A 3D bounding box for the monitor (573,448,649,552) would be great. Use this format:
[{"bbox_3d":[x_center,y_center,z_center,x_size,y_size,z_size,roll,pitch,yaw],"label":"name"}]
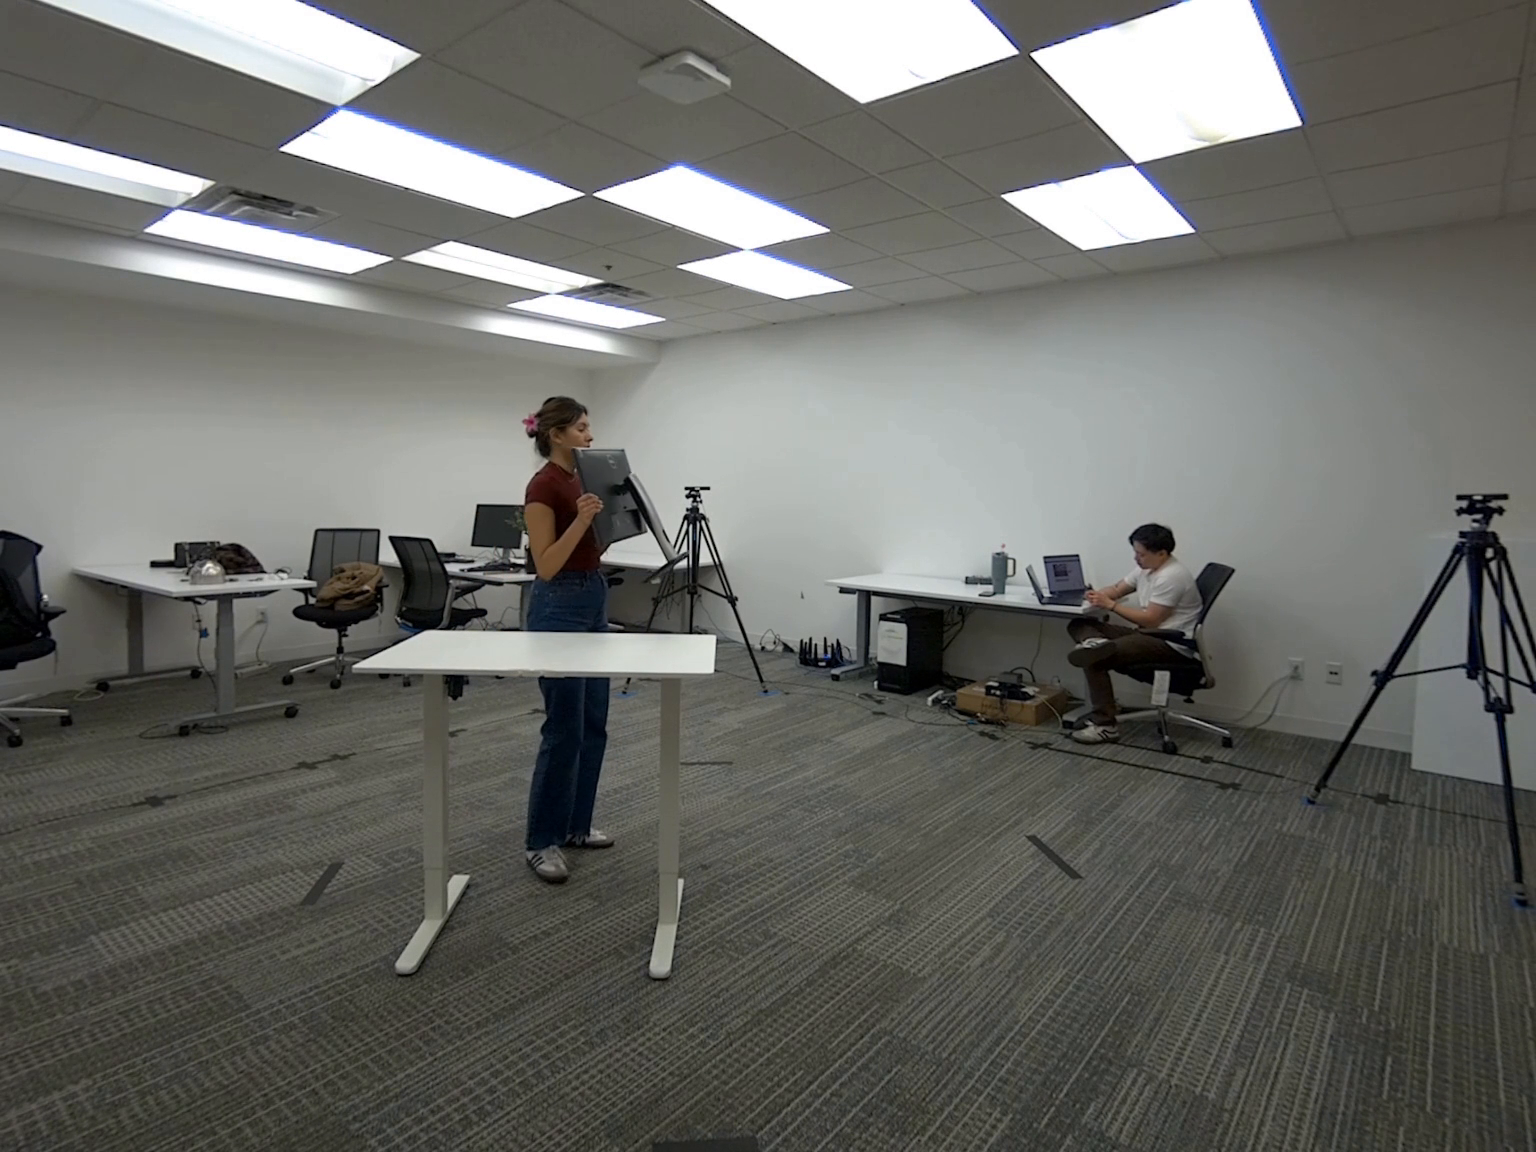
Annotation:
[{"bbox_3d":[-0.519,-0.241,3.135,0.188,0.523,0.537,-31,1,10],"label":"monitor"}]
